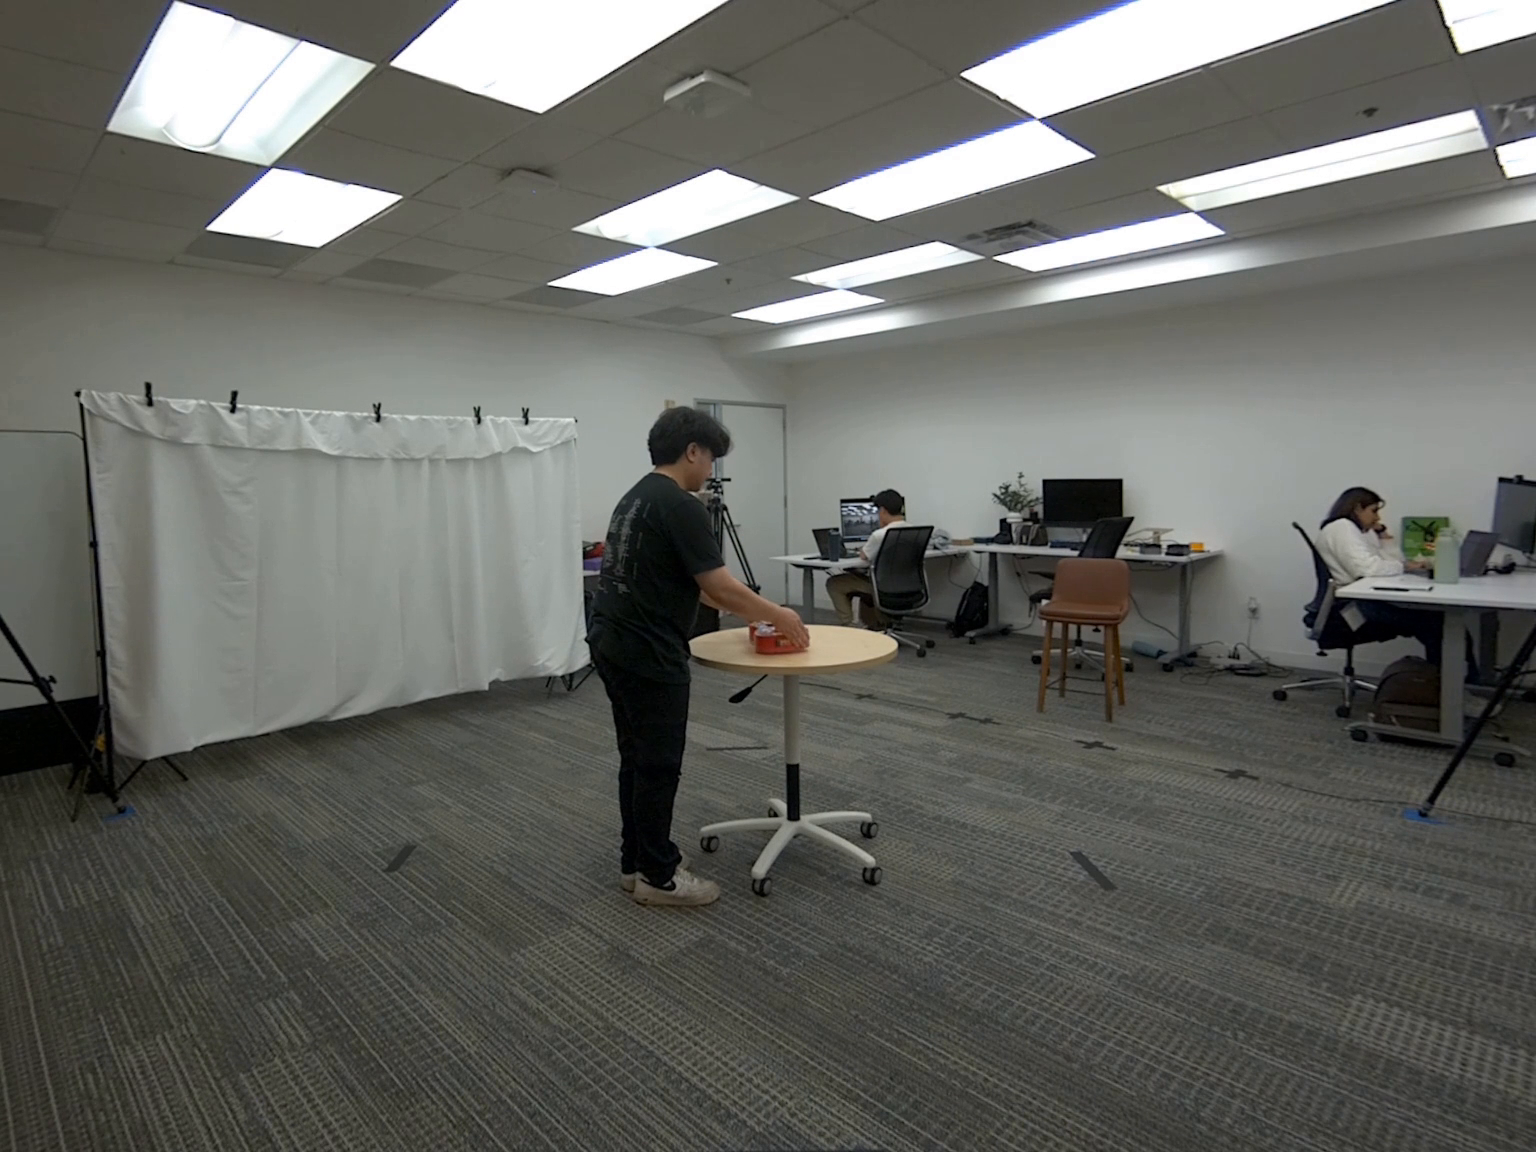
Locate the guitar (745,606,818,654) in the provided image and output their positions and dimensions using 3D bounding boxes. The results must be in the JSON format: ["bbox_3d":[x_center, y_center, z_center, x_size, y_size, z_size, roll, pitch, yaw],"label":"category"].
[{"bbox_3d":[0.035,0.189,3.128,0.192,0.070,0.503,-3,7,-7],"label":"guitar"}]
